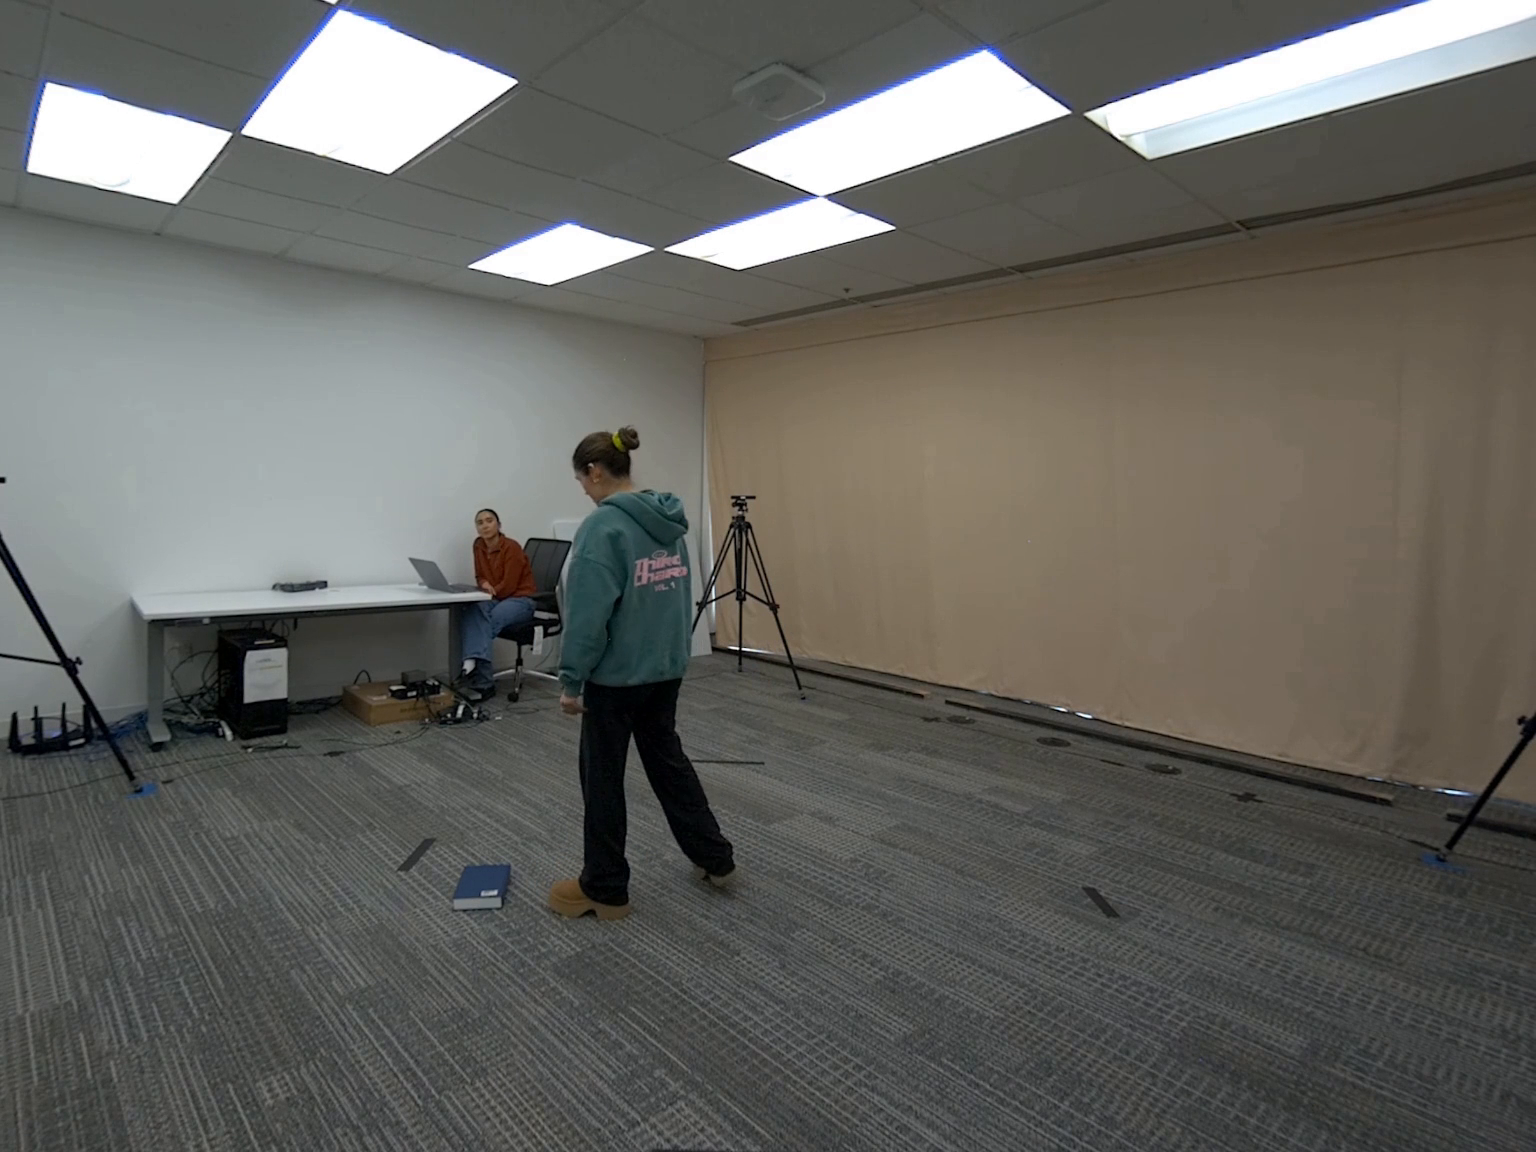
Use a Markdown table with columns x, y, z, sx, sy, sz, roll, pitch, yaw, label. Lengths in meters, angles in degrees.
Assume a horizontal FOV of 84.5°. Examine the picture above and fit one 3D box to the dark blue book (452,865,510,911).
| x | y | z | sx | sy | sz | roll | pitch | yaw | label |
| --- | --- | --- | --- | --- | --- | --- | --- | --- | --- |
| -0.988 | 1.071 | 2.918 | 0.162 | 0.045 | 0.248 | 0 | 6 | -10 | dark blue book |
